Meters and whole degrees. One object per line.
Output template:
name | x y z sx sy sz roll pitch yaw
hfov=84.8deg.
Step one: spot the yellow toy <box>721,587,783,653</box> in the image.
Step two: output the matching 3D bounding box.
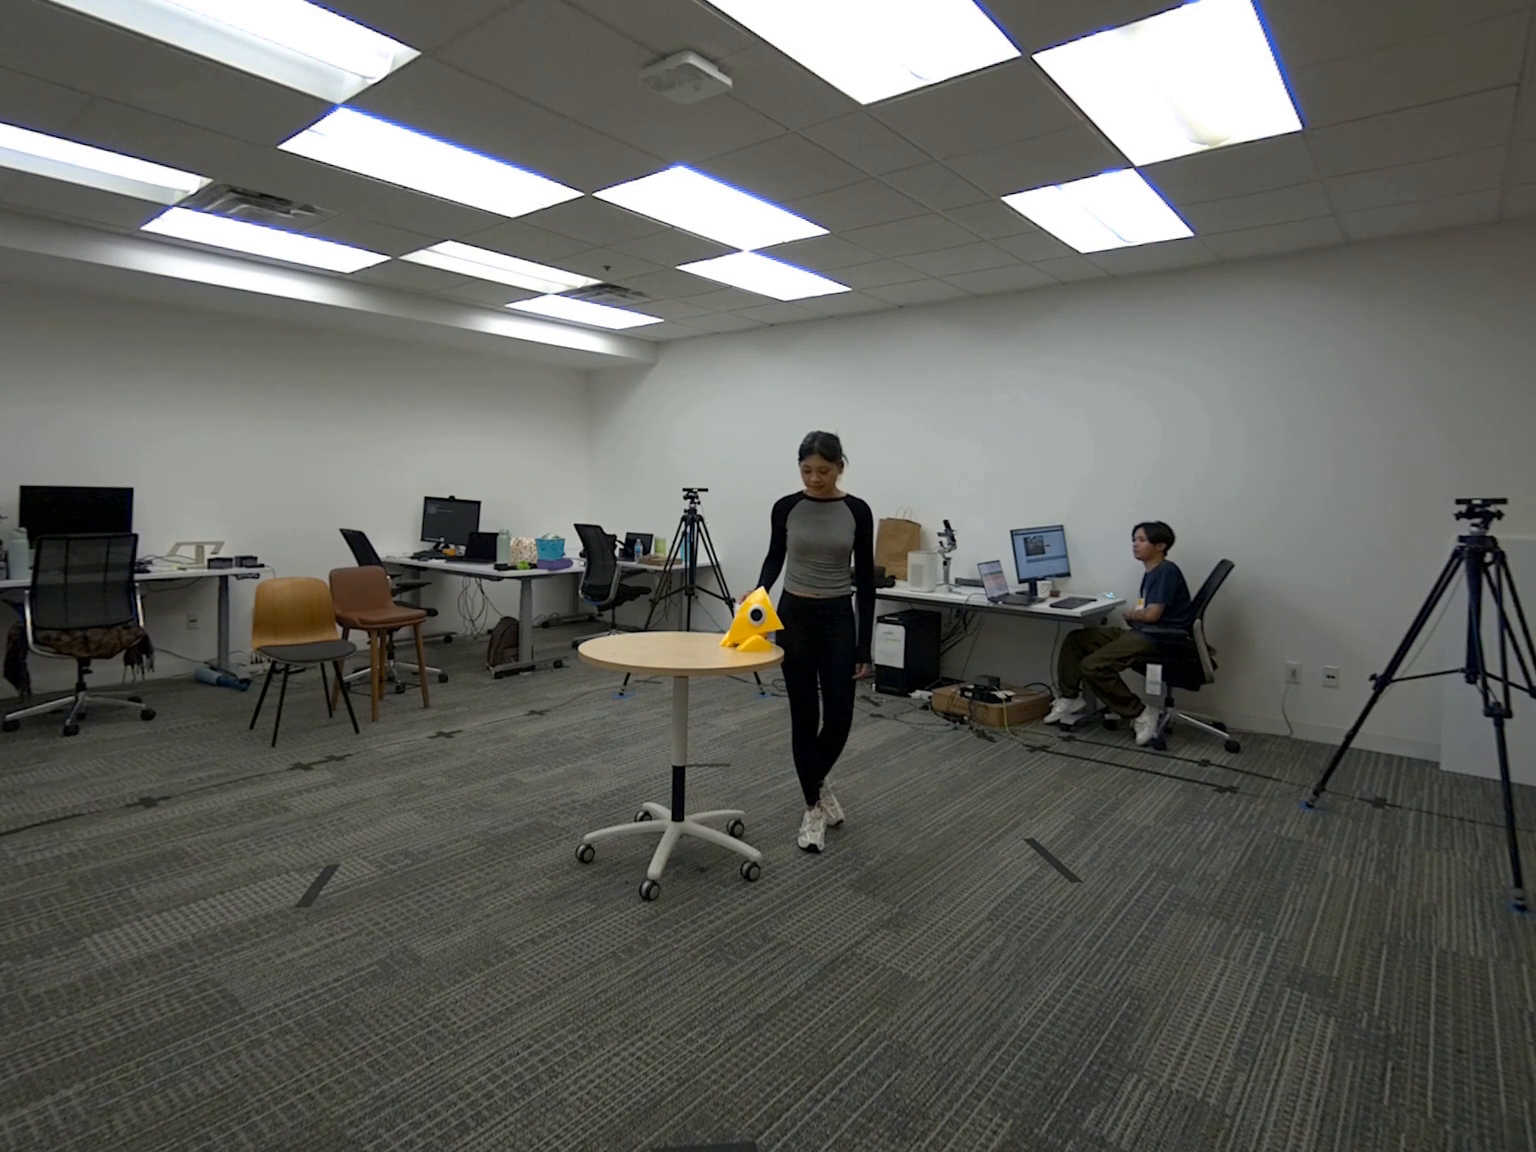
yellow toy | -0.078 0.153 3.245 0.187 0.230 0.211 -1 4 -34
